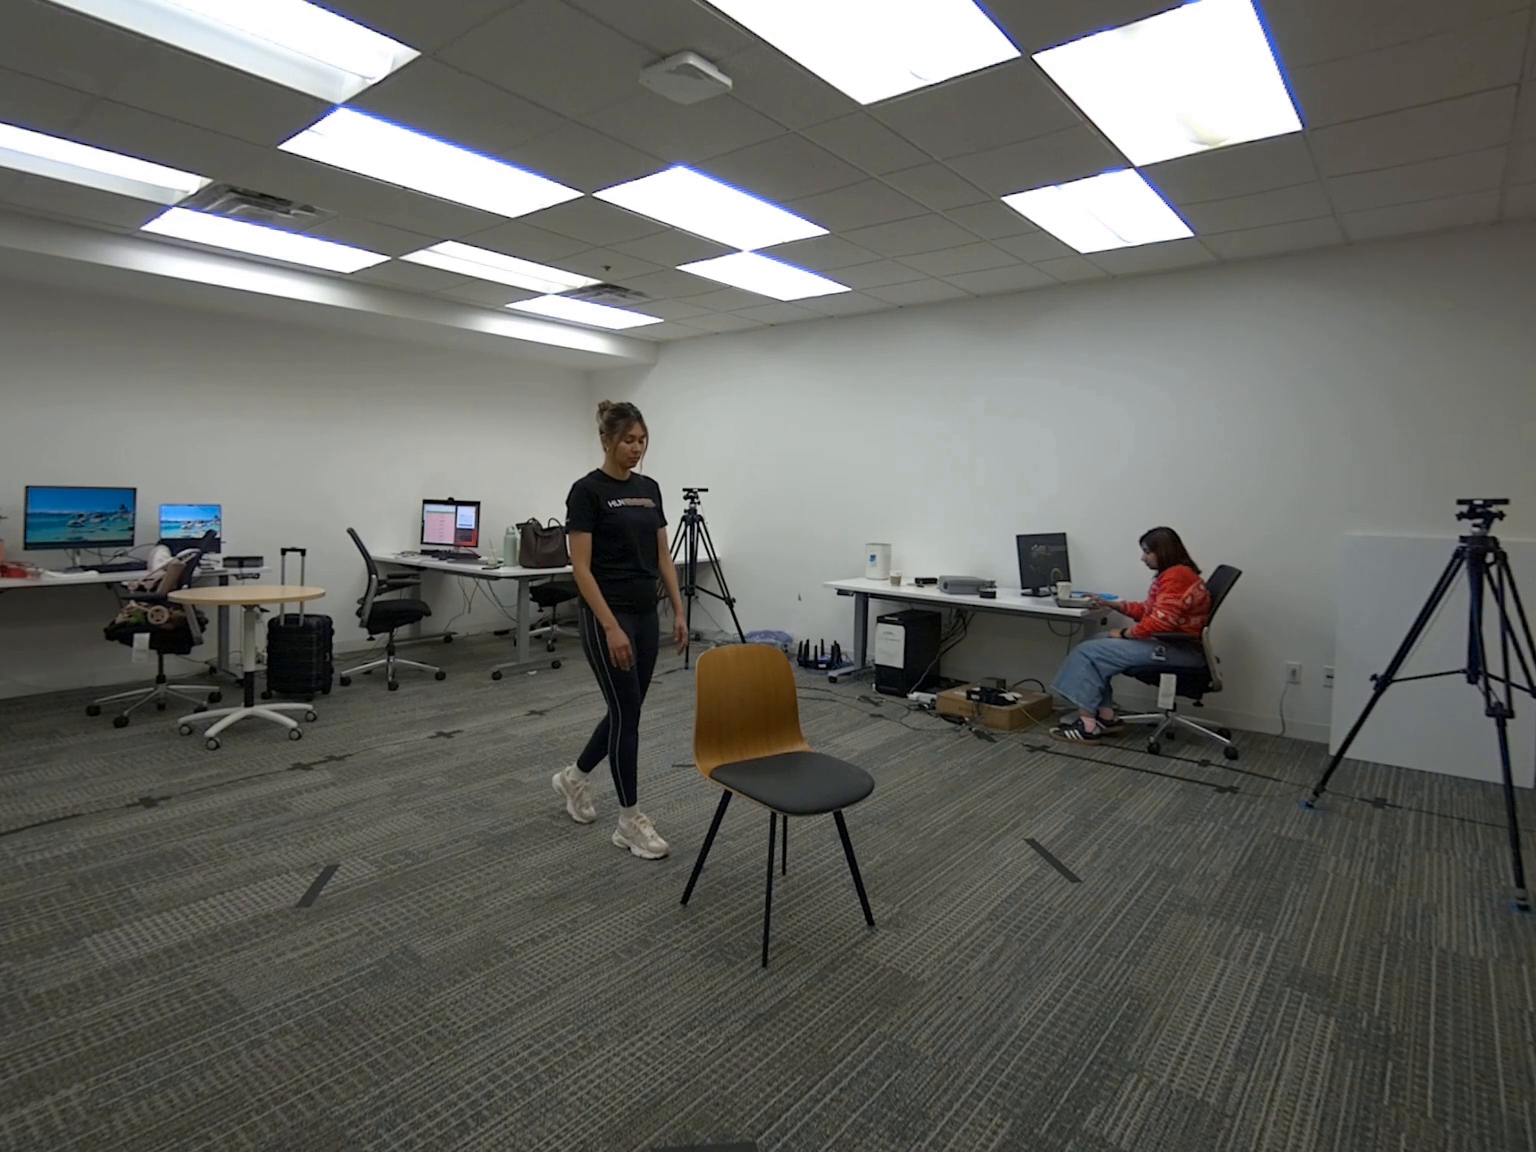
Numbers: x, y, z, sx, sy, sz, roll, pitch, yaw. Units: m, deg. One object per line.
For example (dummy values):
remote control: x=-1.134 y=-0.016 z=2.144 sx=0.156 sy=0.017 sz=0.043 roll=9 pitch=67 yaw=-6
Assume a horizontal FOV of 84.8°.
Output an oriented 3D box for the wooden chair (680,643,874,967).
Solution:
wooden chair: x=0.037 y=0.683 z=2.750 sx=0.464 sy=0.878 sz=0.539 roll=-1 pitch=0 yaw=-37
